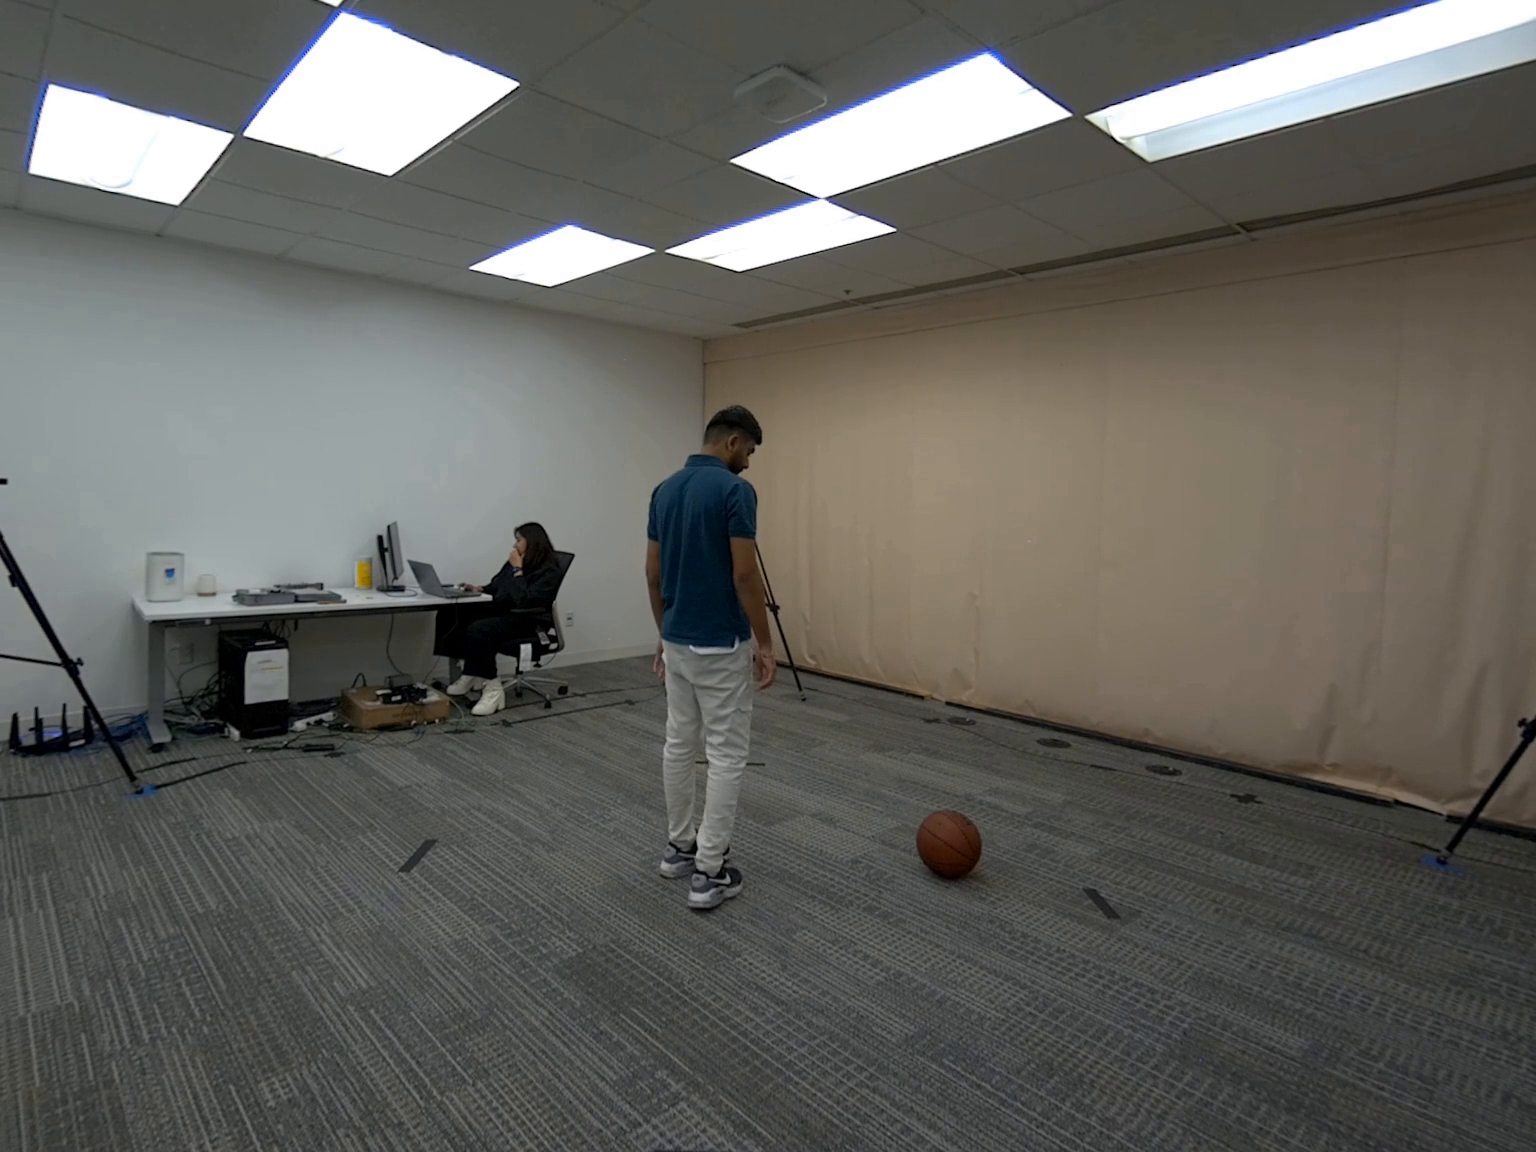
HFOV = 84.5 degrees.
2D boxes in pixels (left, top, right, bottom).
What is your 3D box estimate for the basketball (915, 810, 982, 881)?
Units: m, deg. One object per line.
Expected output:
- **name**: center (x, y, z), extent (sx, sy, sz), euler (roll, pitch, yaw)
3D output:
- **basketball**: center (0.675, 1.003, 3.164), extent (0.236, 0.235, 0.237), euler (1, 4, -1)
